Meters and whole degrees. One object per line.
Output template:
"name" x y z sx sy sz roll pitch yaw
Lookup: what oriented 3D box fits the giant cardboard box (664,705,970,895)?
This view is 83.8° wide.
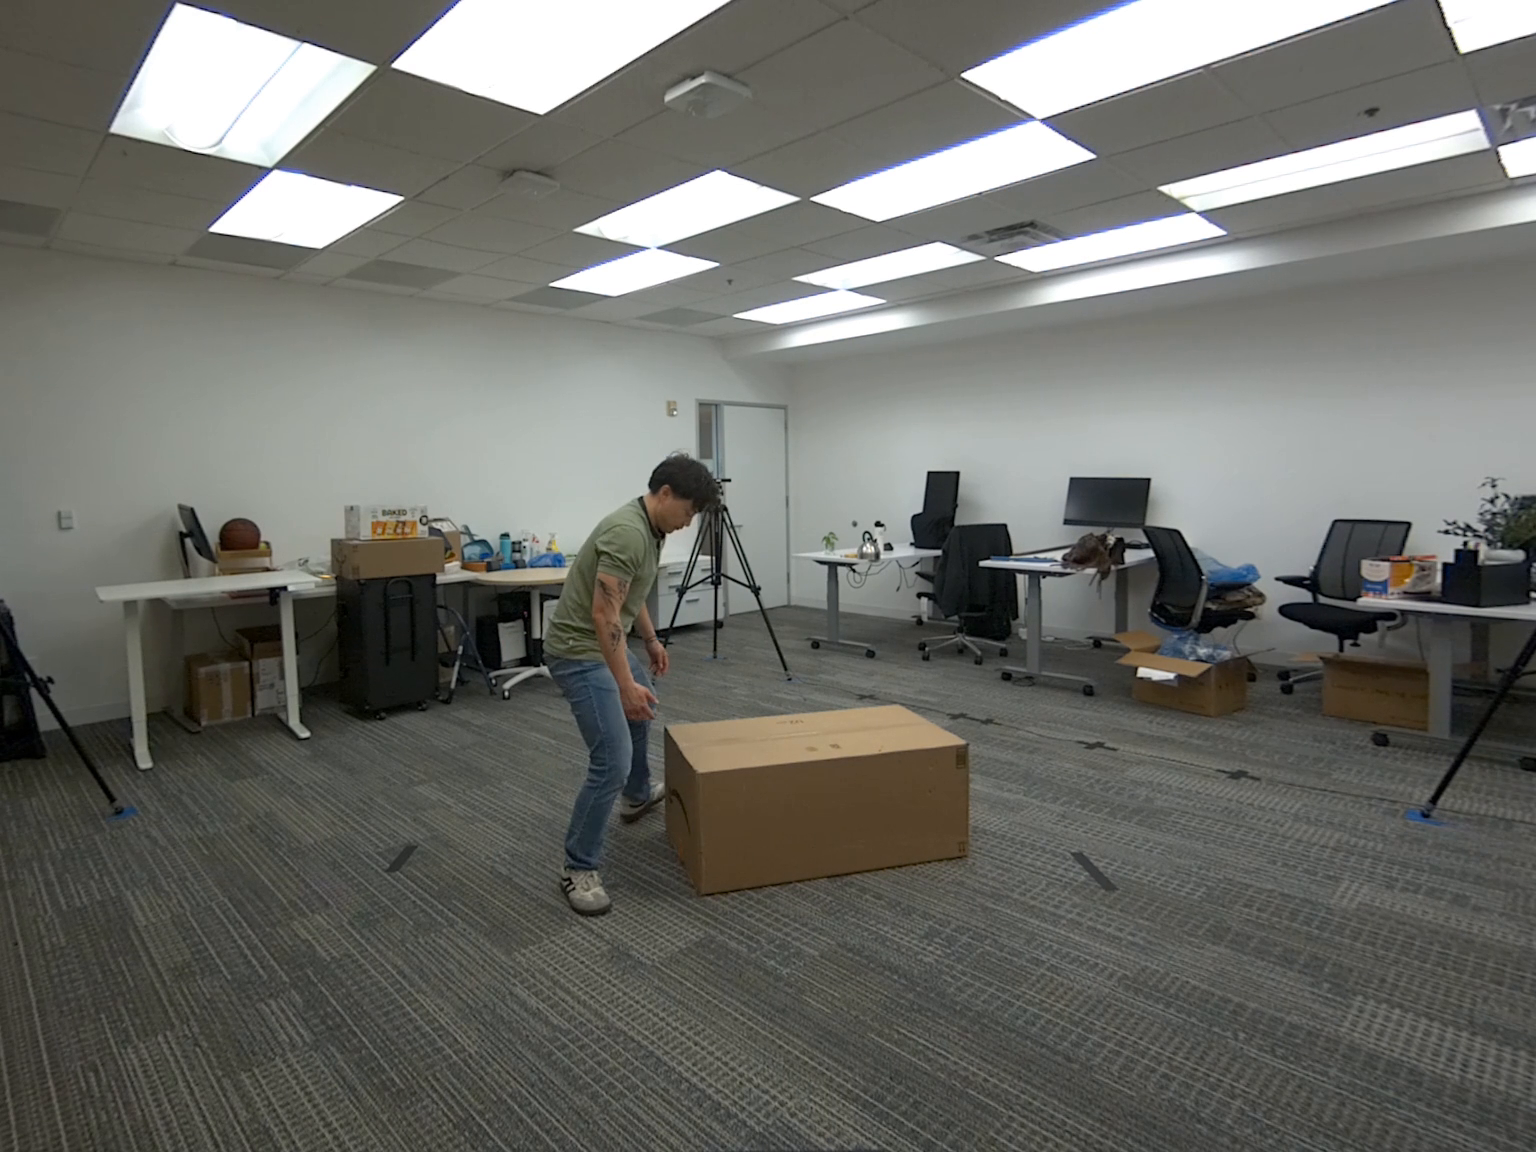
"giant cardboard box" 0.162 0.811 3.255 1.011 0.424 0.588 -3 6 -16
